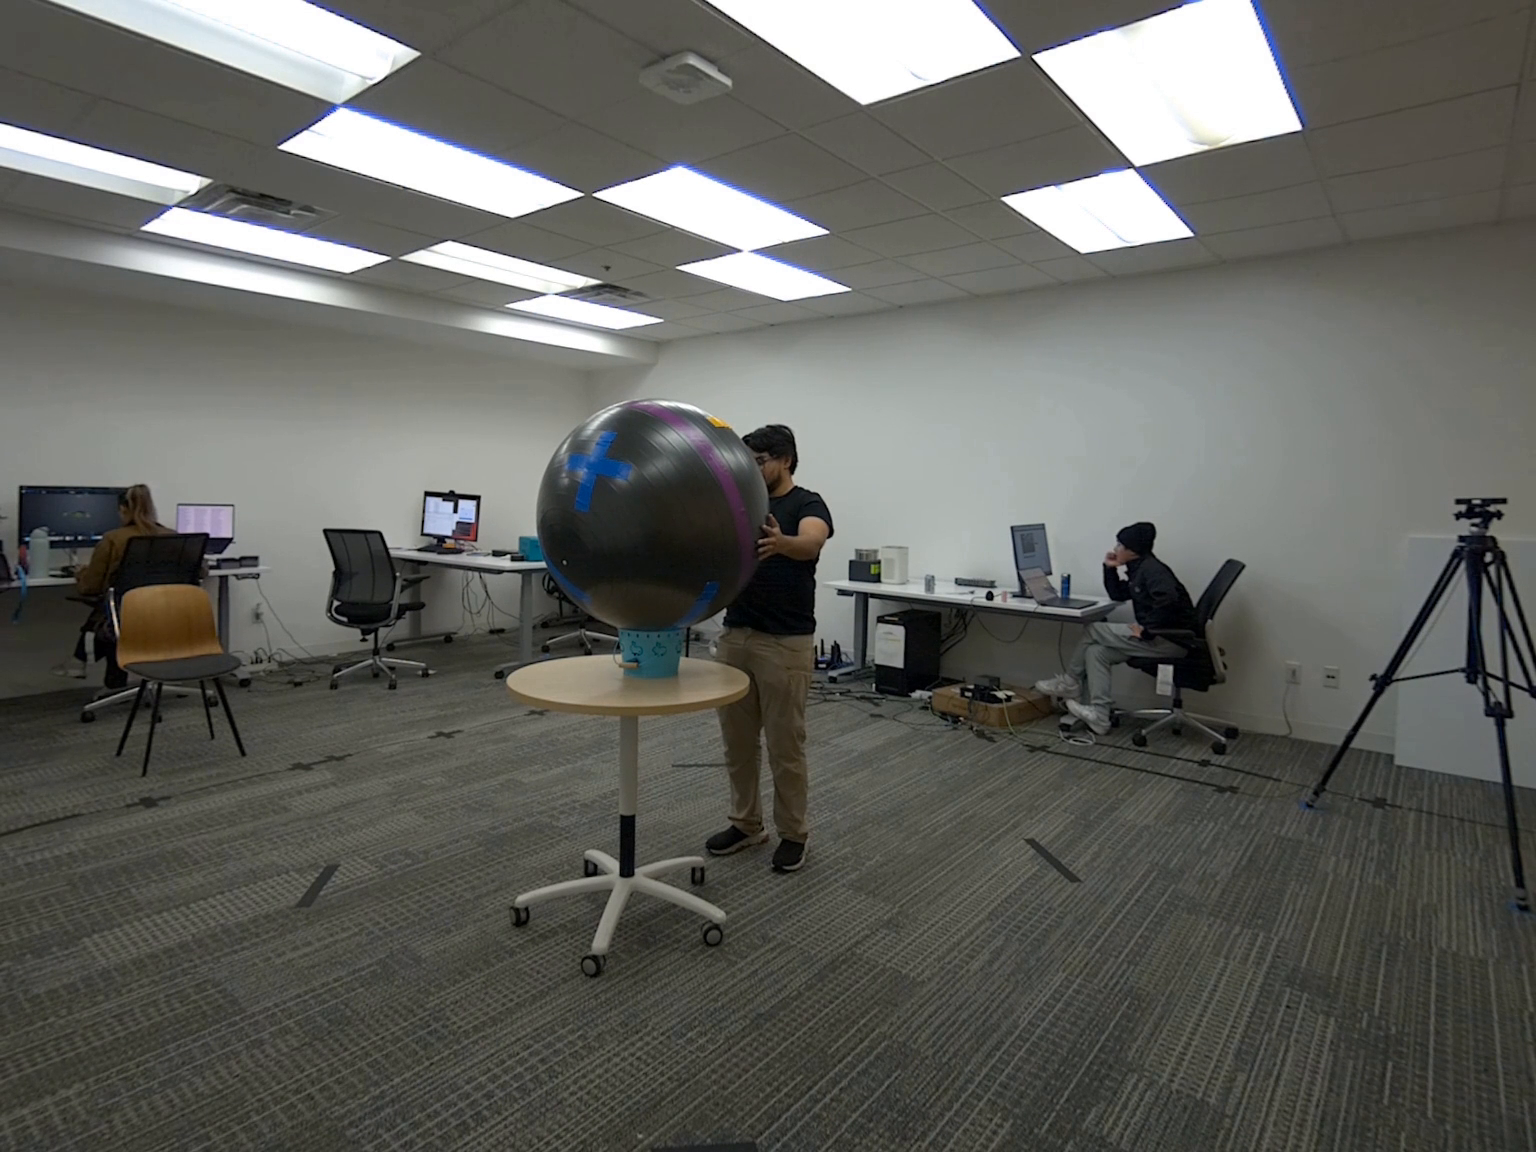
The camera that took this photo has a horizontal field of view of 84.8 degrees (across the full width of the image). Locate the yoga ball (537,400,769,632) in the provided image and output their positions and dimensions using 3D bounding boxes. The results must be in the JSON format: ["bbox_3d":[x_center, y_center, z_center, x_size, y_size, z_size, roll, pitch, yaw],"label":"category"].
[{"bbox_3d":[-0.378,-0.192,2.775,0.757,0.755,0.762,1,4,-2],"label":"yoga ball"}]
